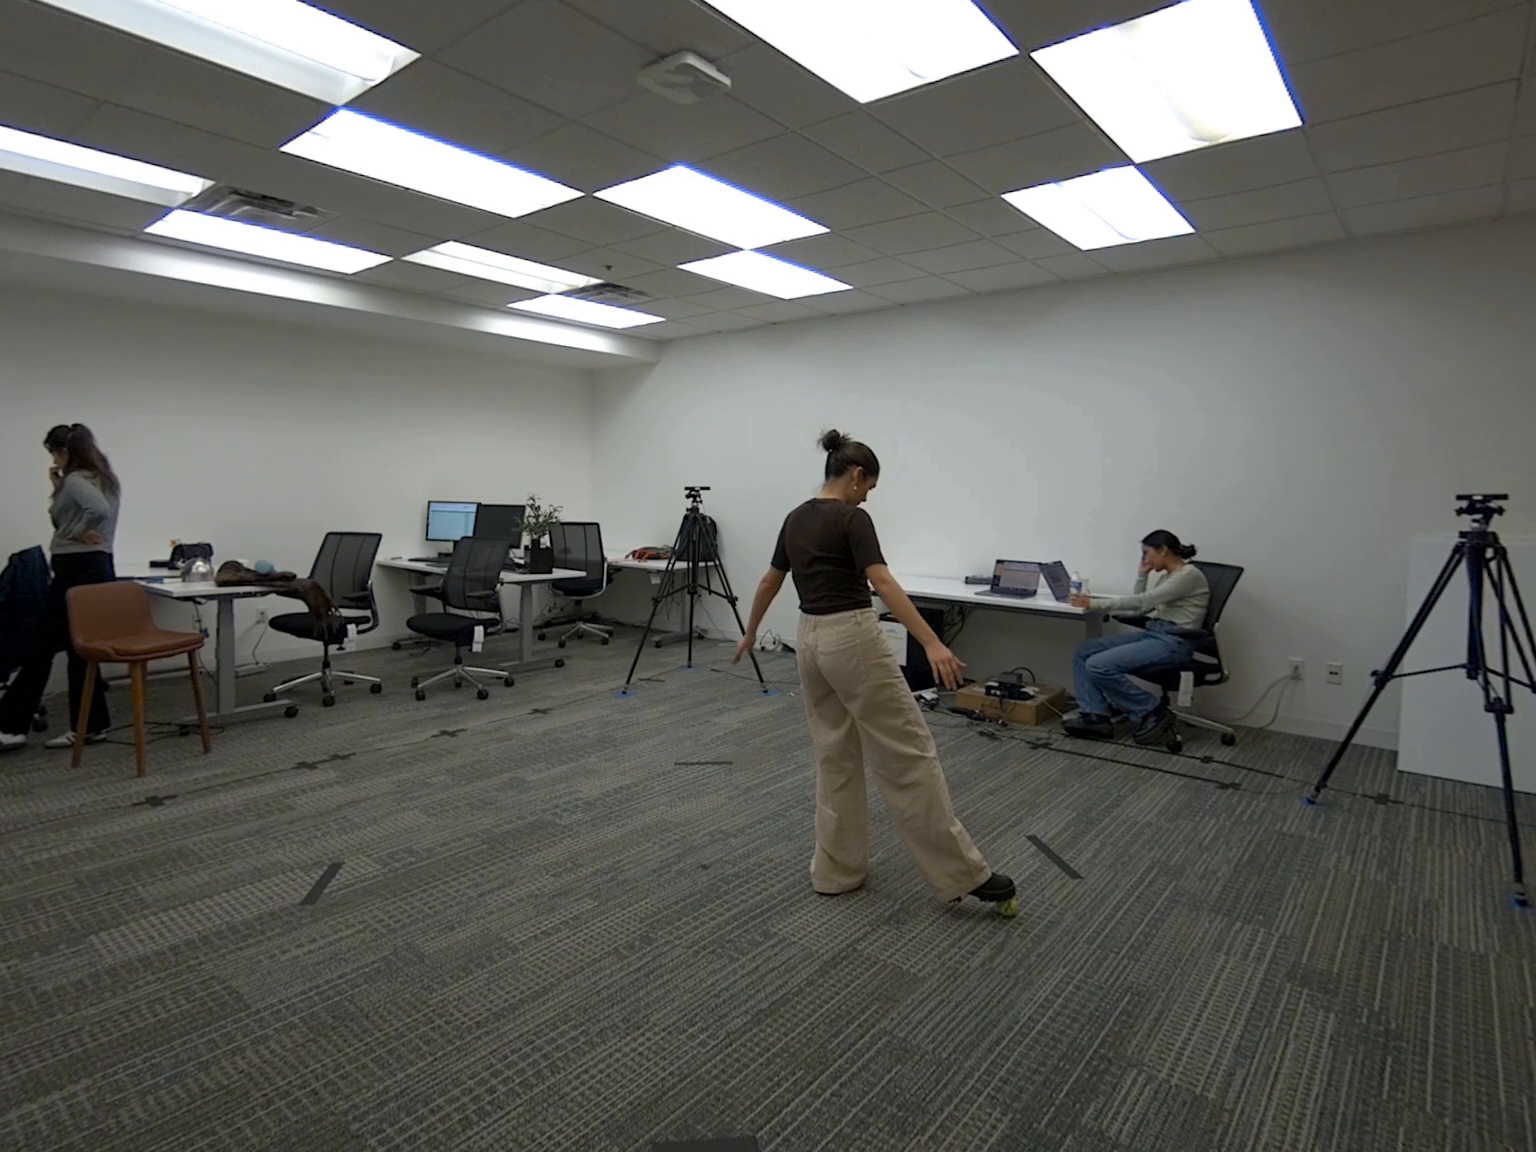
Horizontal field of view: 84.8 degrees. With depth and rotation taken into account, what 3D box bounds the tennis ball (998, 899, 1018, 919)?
[{"bbox_3d":[0.782,1.079,2.807,0.066,0.066,0.067,1,4,-2],"label":"tennis ball"}]
